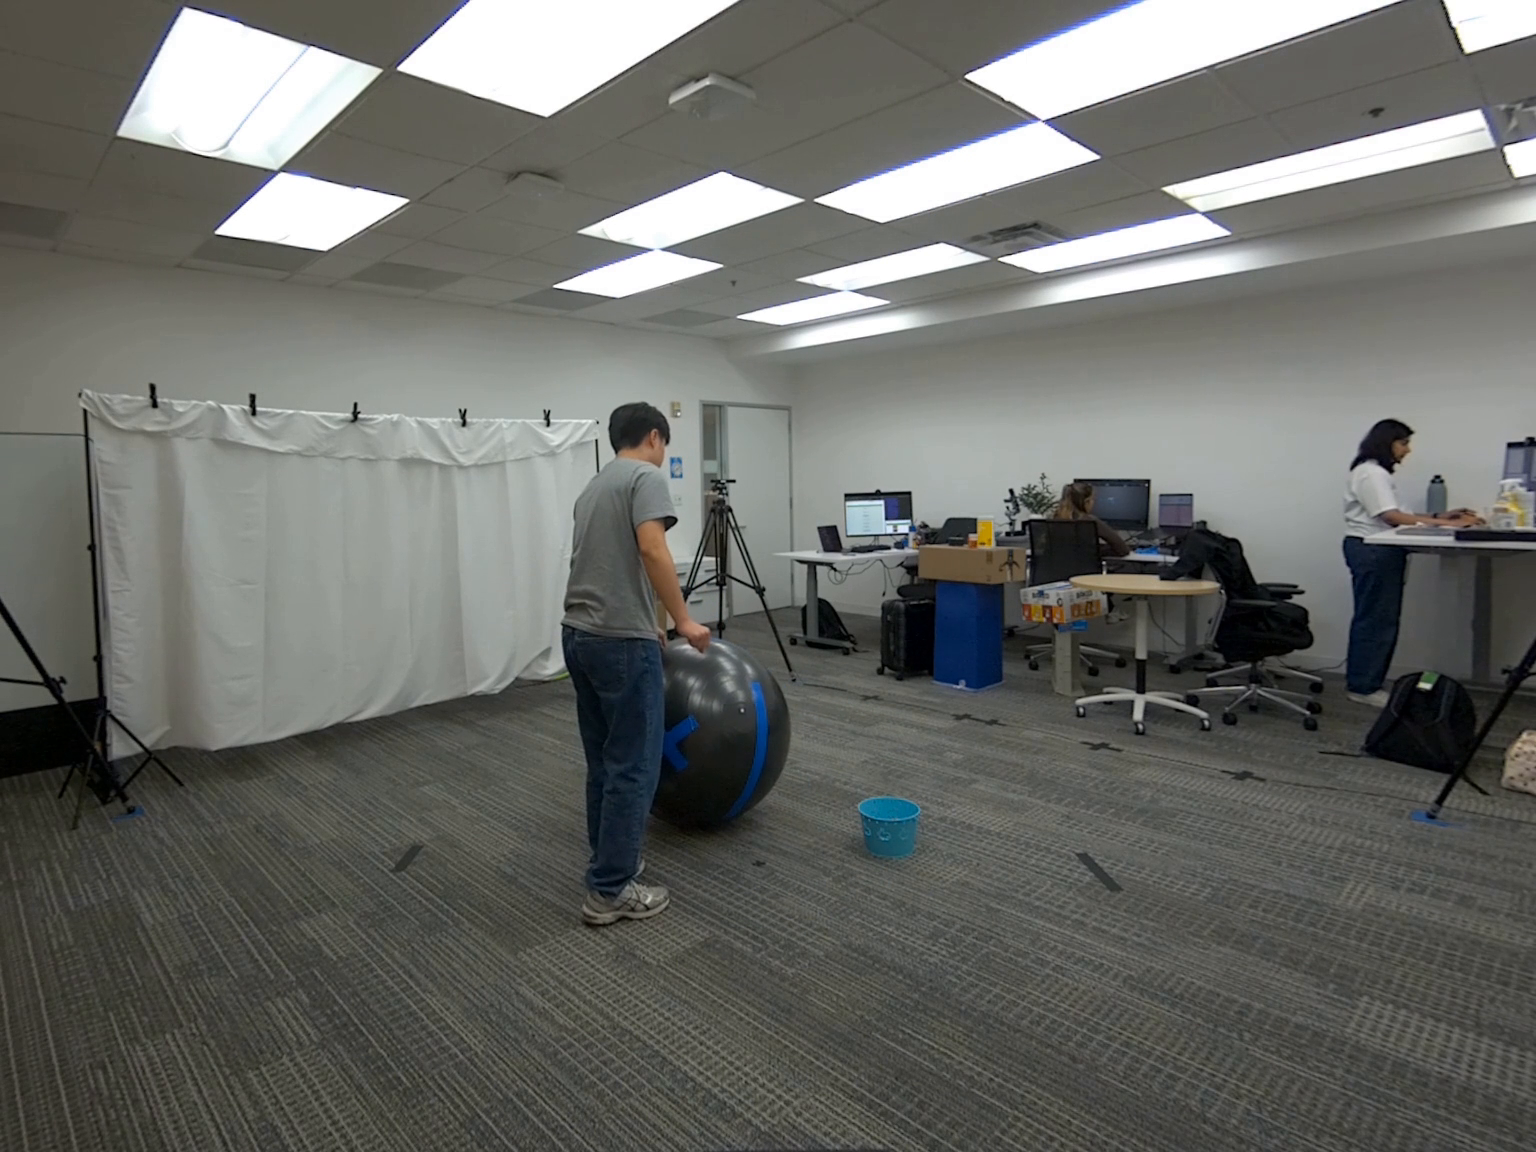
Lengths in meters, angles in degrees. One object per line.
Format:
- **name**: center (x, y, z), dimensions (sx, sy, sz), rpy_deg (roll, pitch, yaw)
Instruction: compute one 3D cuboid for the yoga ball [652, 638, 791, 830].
- **yoga ball**: center (-0.287, 0.637, 3.519), dimensions (0.757, 0.755, 0.762), rpy_deg (-1, 5, -2)
